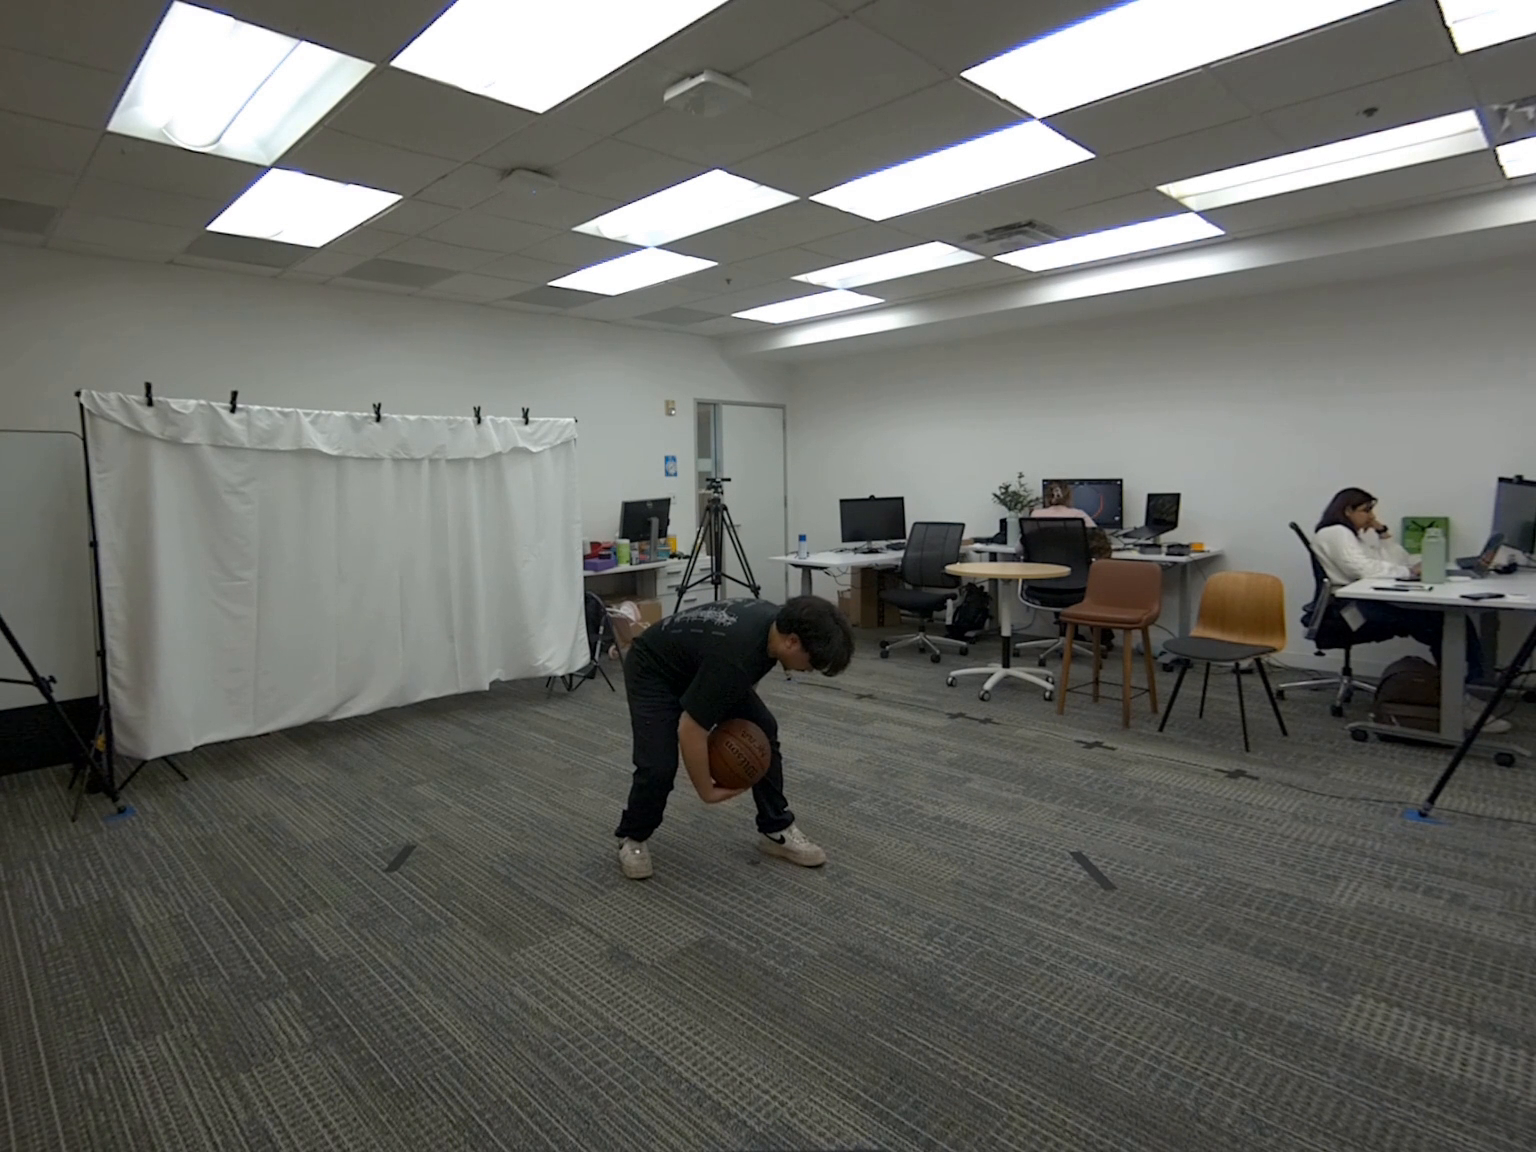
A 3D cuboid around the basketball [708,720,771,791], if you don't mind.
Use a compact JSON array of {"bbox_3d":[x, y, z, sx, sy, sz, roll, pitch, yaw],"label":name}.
[{"bbox_3d":[-0.127,0.627,2.982,0.236,0.235,0.237,-1,5,-2],"label":"basketball"}]
